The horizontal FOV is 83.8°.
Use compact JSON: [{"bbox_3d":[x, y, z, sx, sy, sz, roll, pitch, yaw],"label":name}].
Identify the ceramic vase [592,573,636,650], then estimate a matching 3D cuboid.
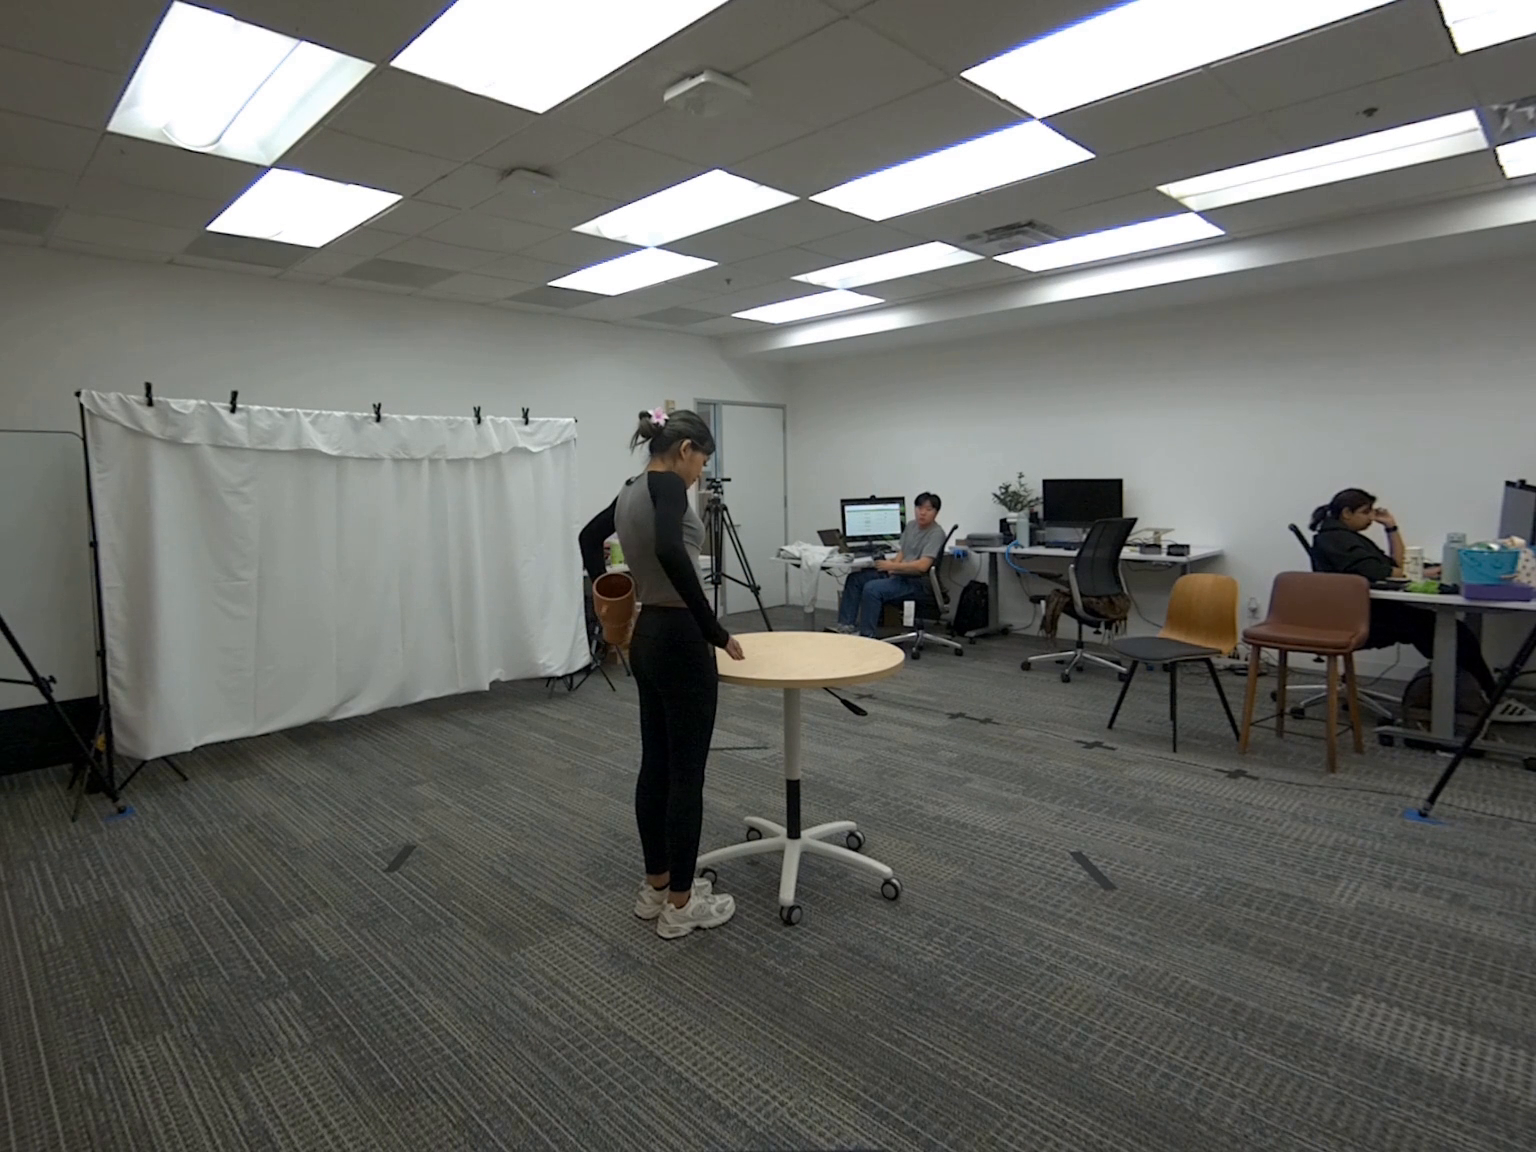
[{"bbox_3d":[-0.499,0.115,2.787,0.157,0.214,0.140,-21,47,-25],"label":"ceramic vase"}]
